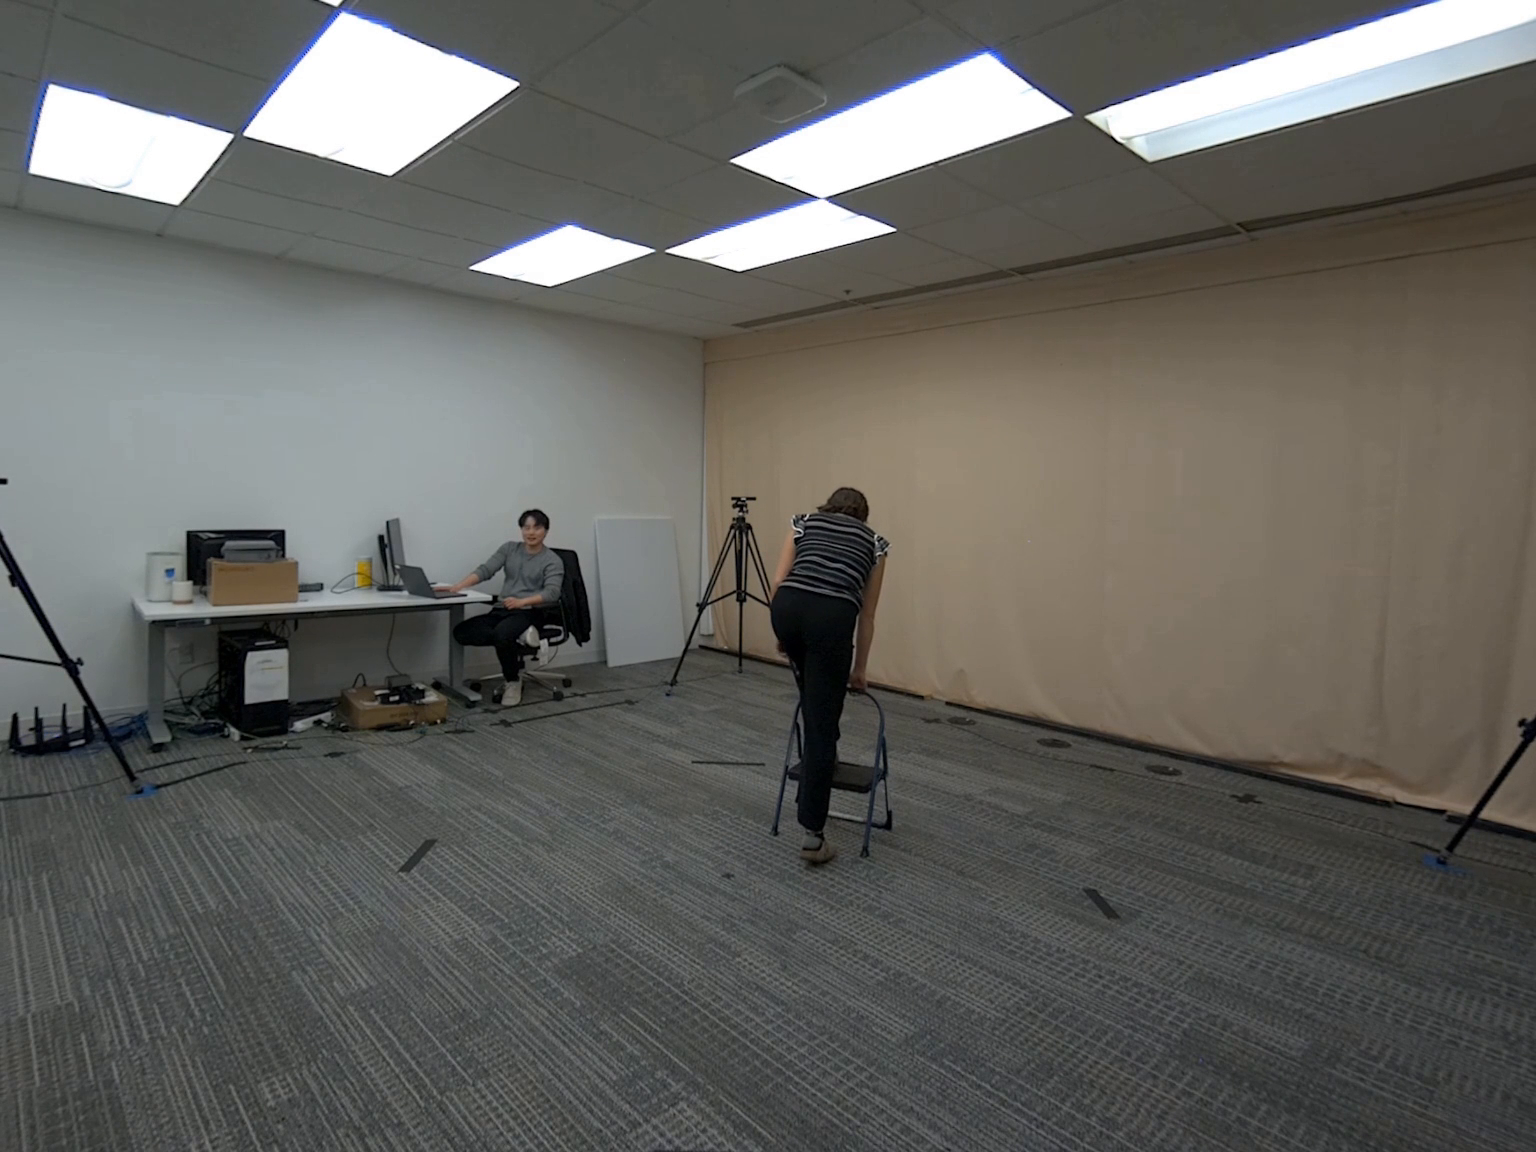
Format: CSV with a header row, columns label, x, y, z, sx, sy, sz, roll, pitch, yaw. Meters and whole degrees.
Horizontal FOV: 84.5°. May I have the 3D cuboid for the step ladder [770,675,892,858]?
label,x,y,z,sx,sy,sz,roll,pitch,yaw
step ladder,0.275,0.778,3.536,0.439,0.605,0.343,3,3,27
